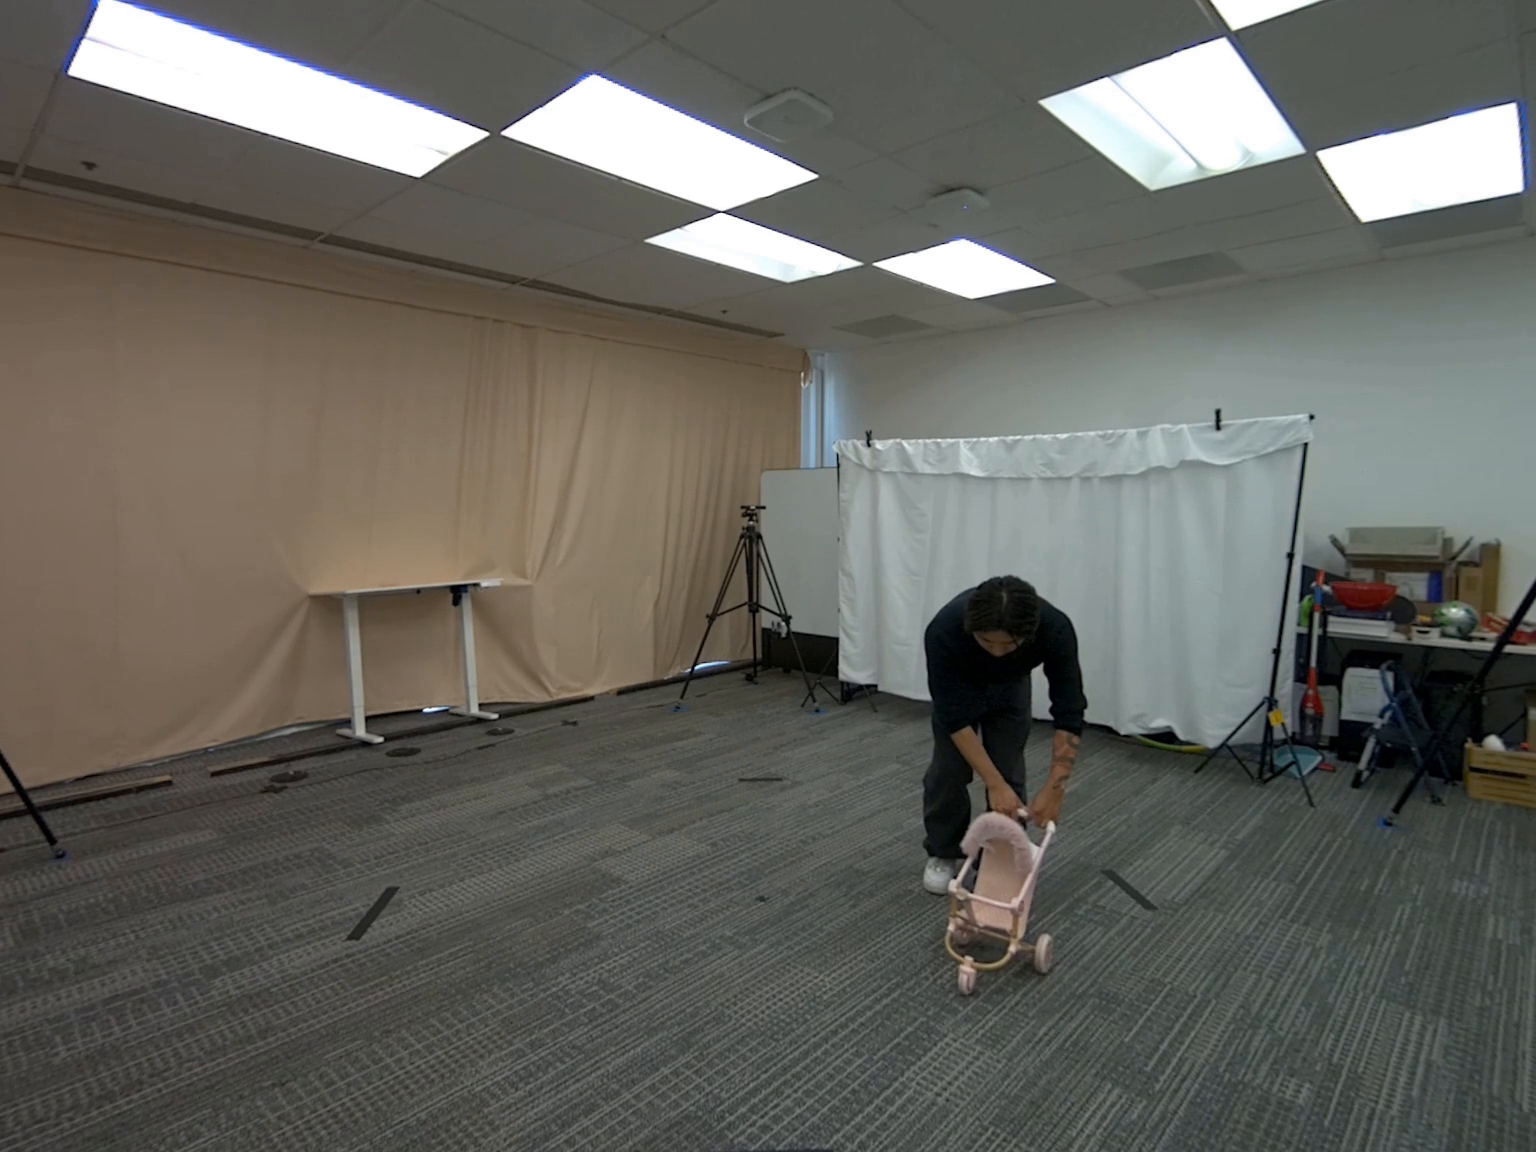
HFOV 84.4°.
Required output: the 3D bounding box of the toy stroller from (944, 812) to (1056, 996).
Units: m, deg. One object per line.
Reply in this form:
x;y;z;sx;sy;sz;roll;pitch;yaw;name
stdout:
0.686;0.957;2.537;0.291;0.537;0.329;2;-14;44;toy stroller
